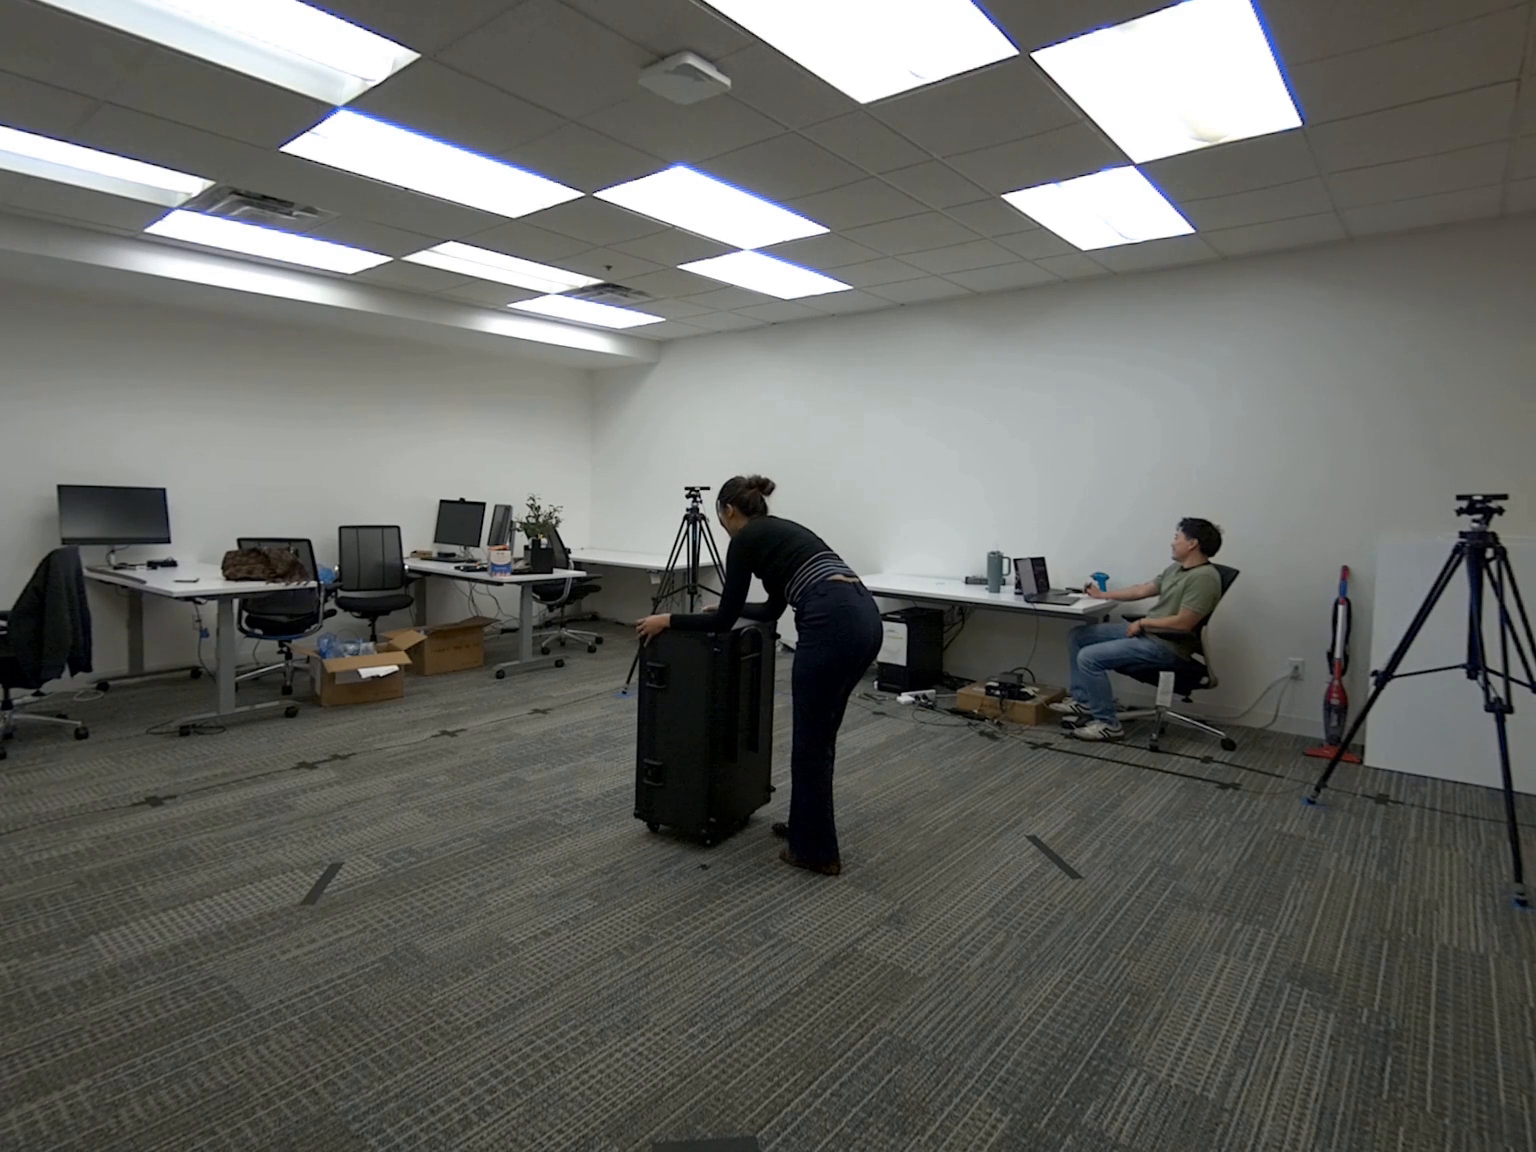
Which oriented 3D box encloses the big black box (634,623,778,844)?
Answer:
[{"bbox_3d":[-0.251,0.605,3.471,0.409,0.858,0.507,6,5,32],"label":"big black box"}]
